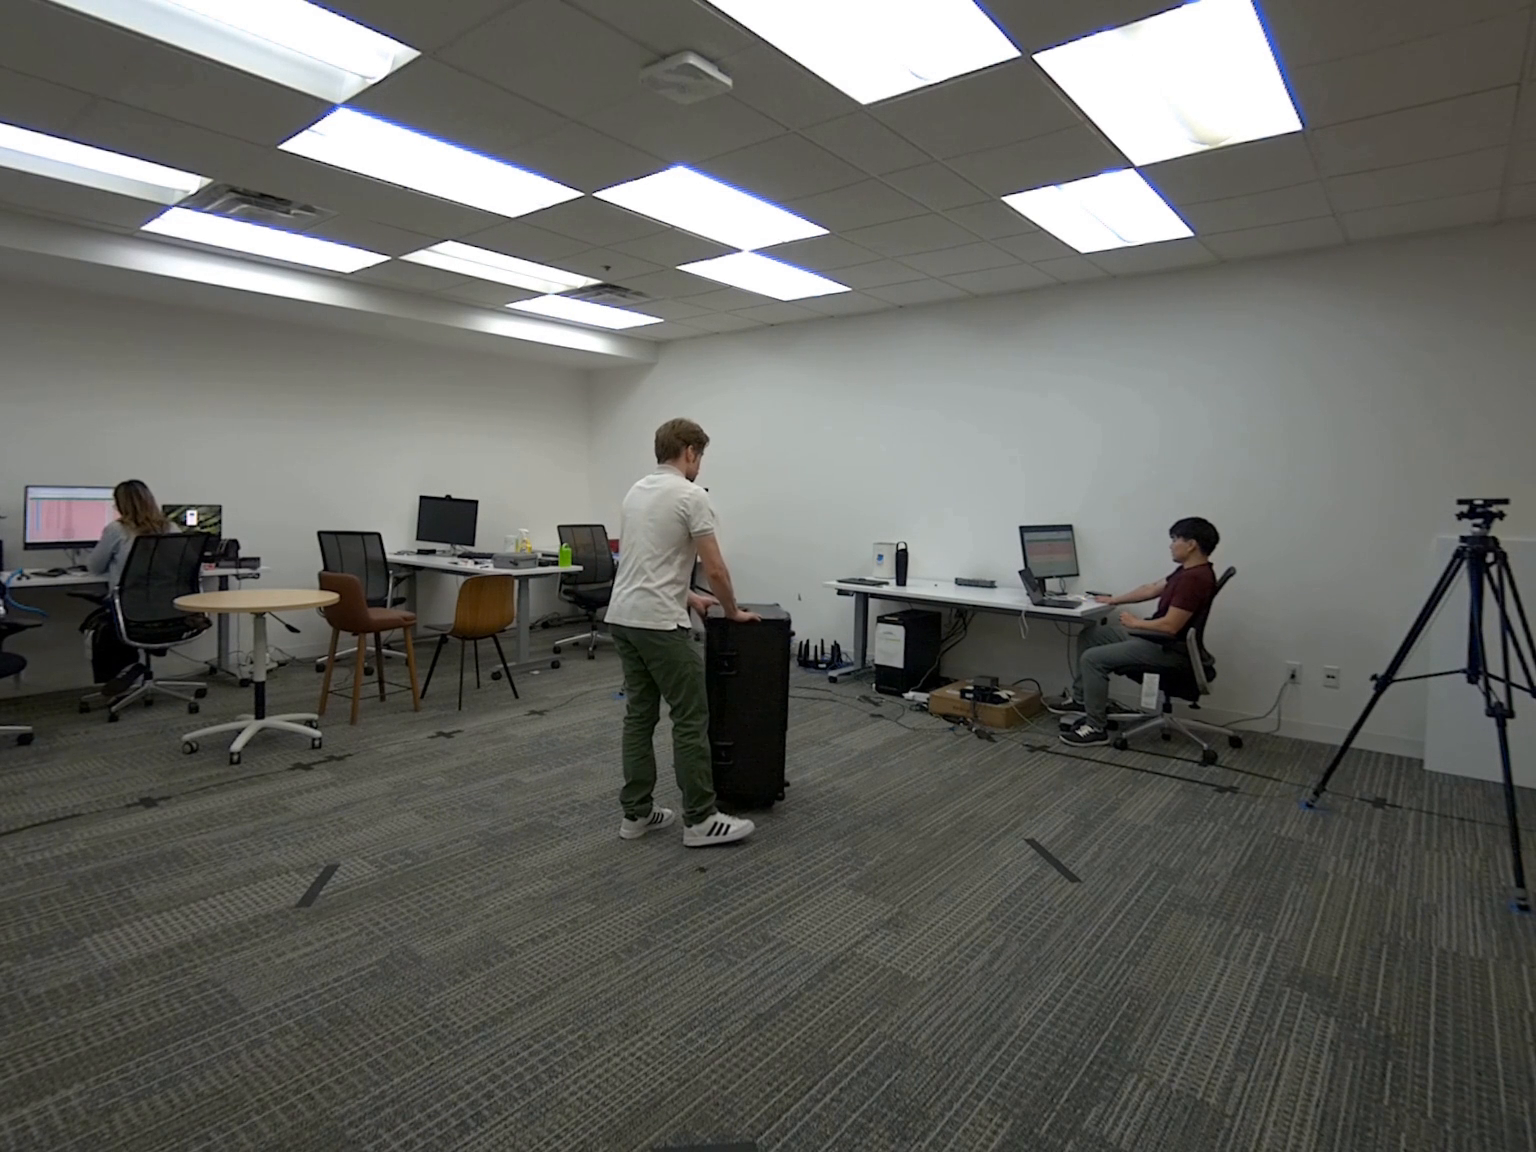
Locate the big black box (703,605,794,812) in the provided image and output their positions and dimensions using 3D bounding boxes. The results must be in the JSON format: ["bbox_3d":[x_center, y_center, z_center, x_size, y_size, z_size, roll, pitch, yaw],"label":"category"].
[{"bbox_3d":[-0.122,0.574,3.847,0.384,0.866,0.527,1,4,-5],"label":"big black box"}]
